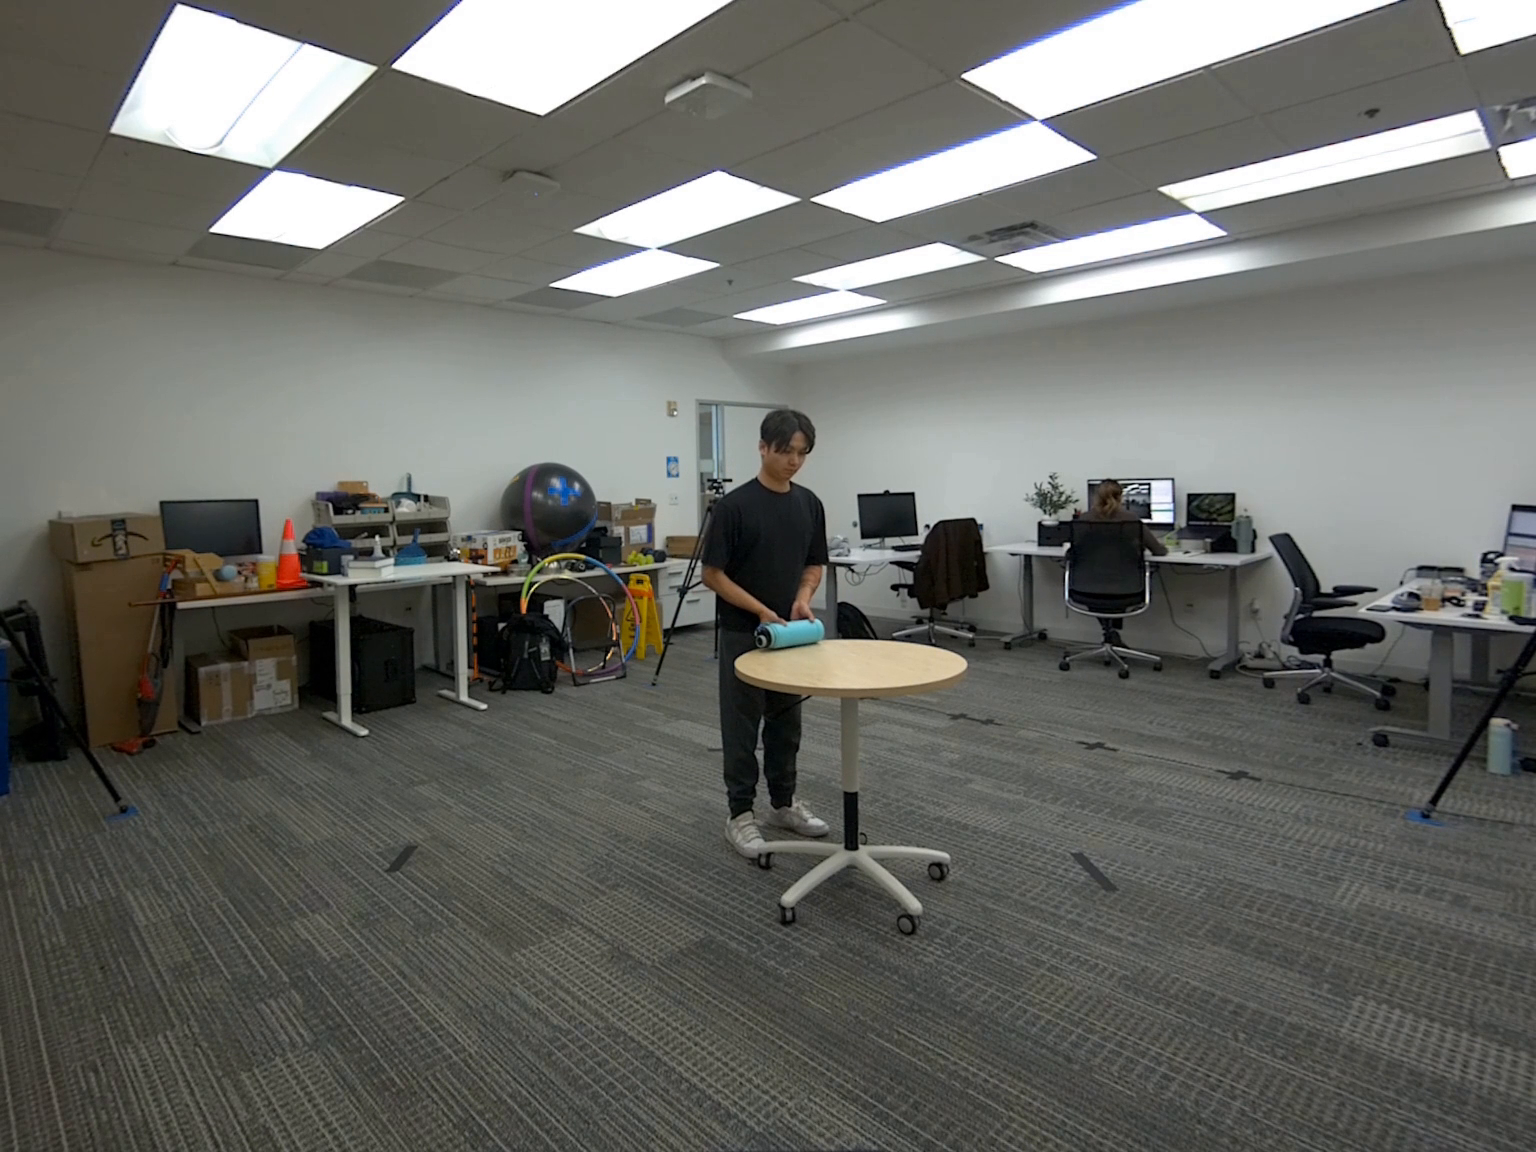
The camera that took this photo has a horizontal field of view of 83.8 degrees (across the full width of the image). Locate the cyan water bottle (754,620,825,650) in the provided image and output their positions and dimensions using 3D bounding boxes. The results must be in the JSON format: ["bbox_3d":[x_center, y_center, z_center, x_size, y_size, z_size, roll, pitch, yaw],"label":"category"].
[{"bbox_3d":[0.077,0.213,3.114,0.276,0.092,0.095,-5,6,-35],"label":"cyan water bottle"}]
